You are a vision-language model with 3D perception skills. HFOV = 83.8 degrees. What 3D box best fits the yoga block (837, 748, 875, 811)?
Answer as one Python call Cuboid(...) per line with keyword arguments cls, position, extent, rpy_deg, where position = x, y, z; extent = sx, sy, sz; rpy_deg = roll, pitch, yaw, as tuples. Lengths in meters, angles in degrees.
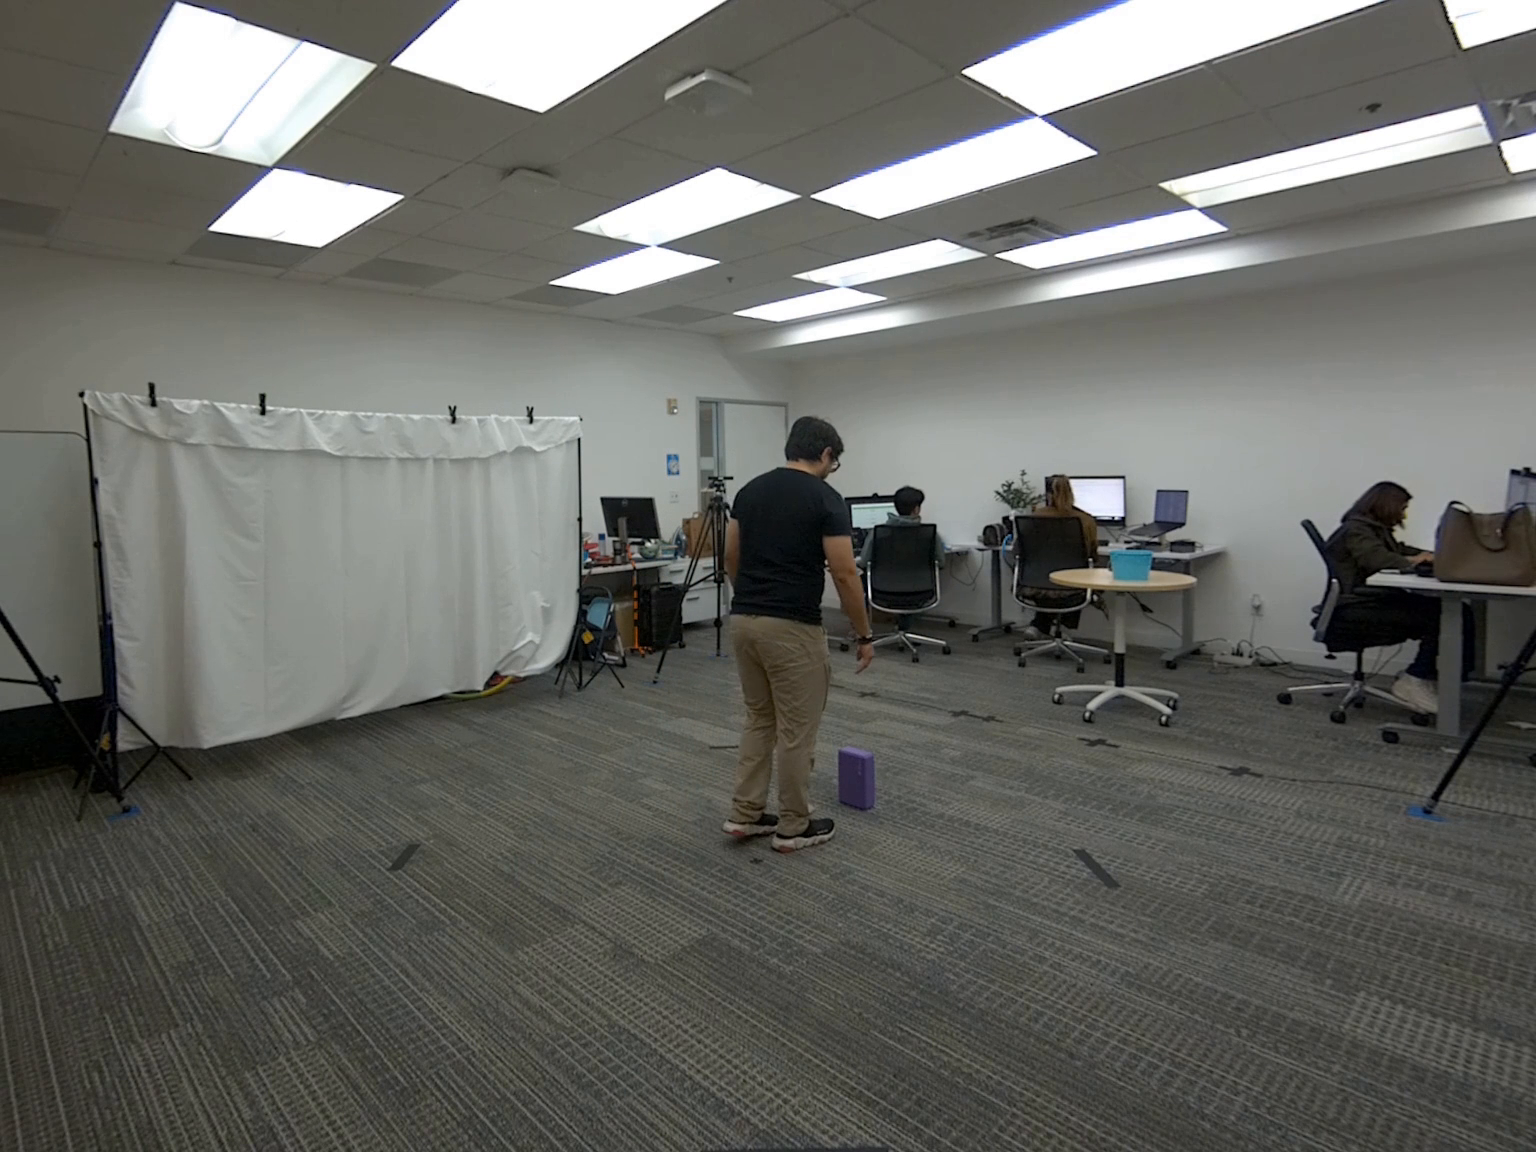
Cuboid(cls="yoga block", position=(0.378, 0.854, 3.621), extent=(0.074, 0.228, 0.153), rpy_deg=(-5, 6, -43))
